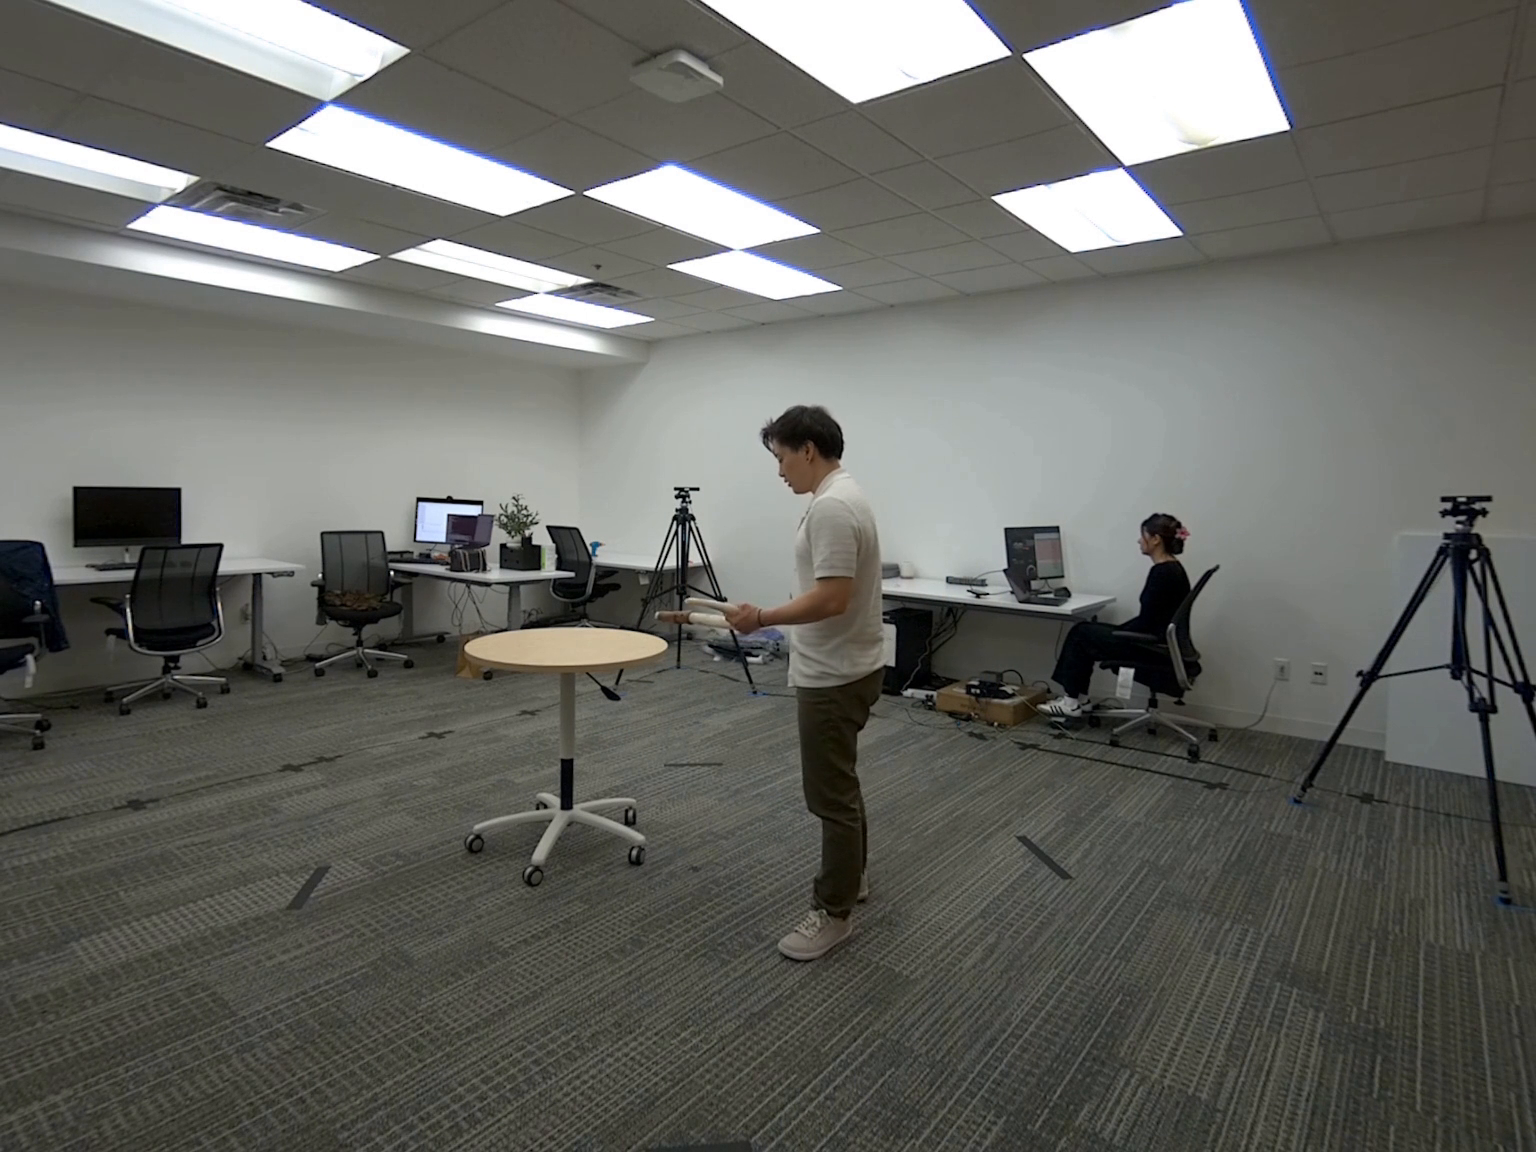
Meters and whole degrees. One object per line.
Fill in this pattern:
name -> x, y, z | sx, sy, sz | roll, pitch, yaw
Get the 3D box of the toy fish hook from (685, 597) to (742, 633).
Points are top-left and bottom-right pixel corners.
toy fish hook -> -0.243, 0.114, 2.761 | 0.216, 0.049, 0.521 | 36, -24, -34
